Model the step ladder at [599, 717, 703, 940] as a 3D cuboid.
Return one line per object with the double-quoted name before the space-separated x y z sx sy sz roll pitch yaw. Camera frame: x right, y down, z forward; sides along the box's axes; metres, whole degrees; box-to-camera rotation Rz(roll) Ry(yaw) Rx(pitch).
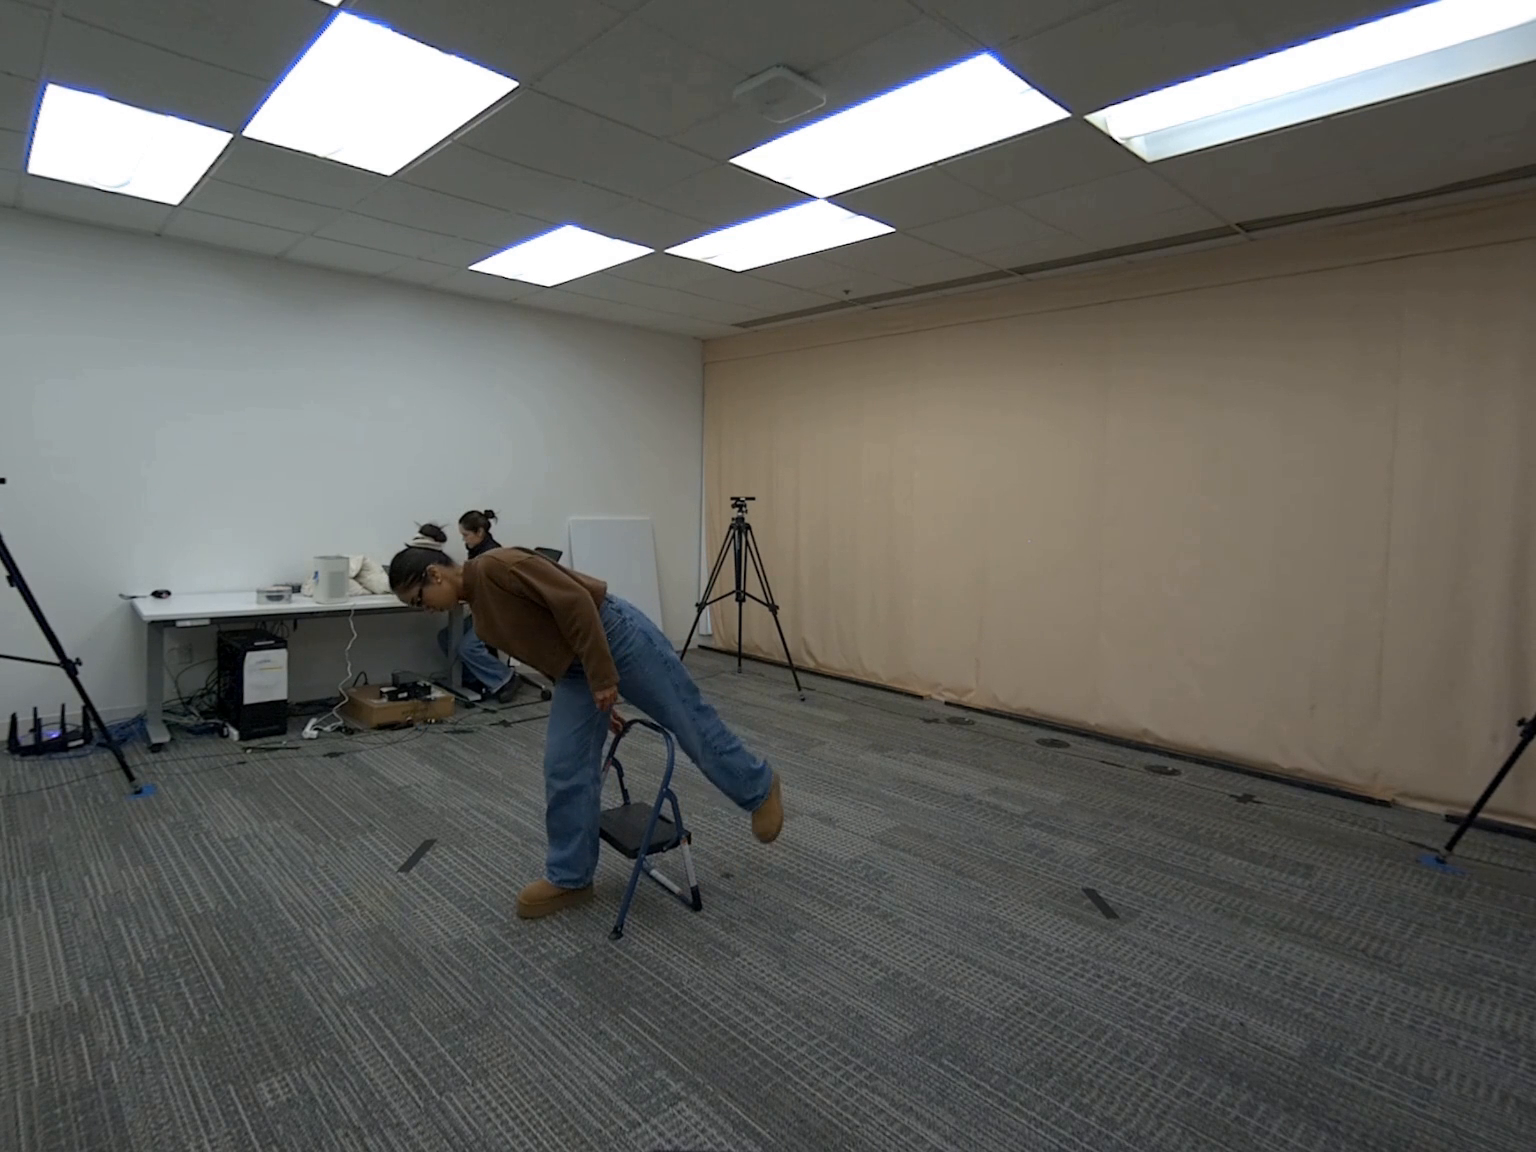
"step ladder" -0.477 0.818 2.886 0.341 0.605 0.441 -1 4 -37
